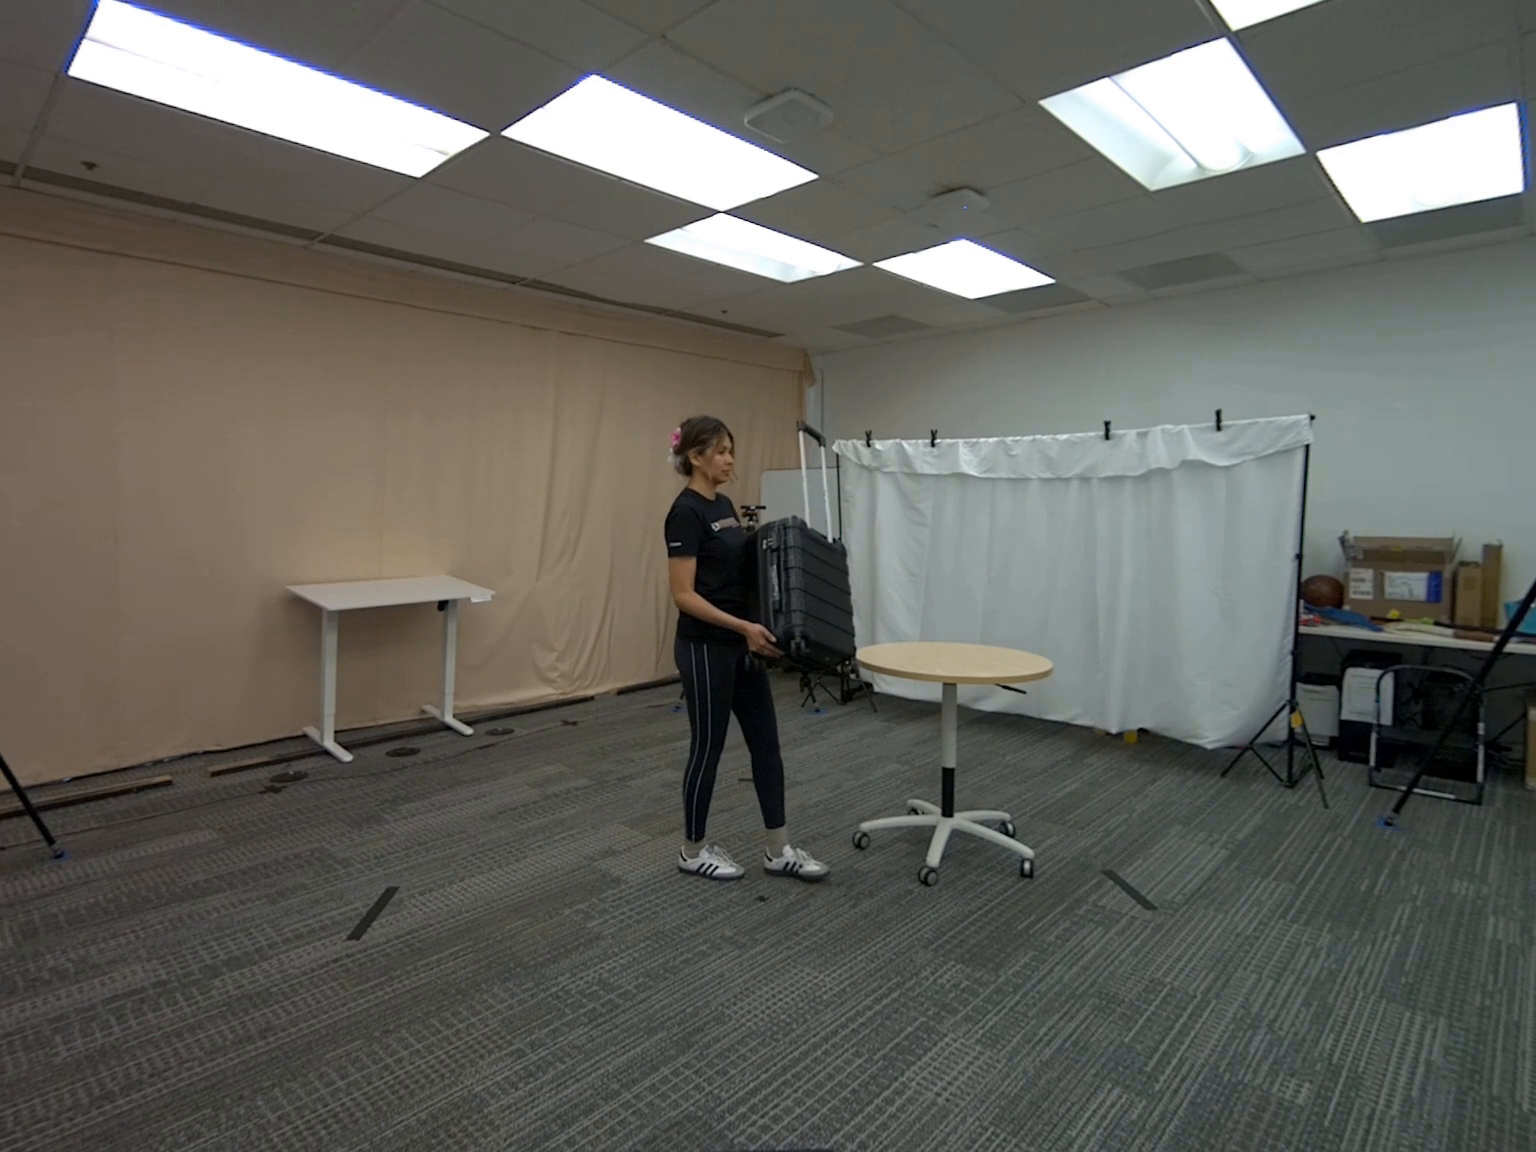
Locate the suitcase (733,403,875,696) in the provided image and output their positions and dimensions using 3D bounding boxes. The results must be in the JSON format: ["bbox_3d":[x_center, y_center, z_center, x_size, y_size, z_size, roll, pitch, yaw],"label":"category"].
[{"bbox_3d":[0.111,-0.109,3.101,0.371,0.995,0.262,23,-38,-37],"label":"suitcase"}]
